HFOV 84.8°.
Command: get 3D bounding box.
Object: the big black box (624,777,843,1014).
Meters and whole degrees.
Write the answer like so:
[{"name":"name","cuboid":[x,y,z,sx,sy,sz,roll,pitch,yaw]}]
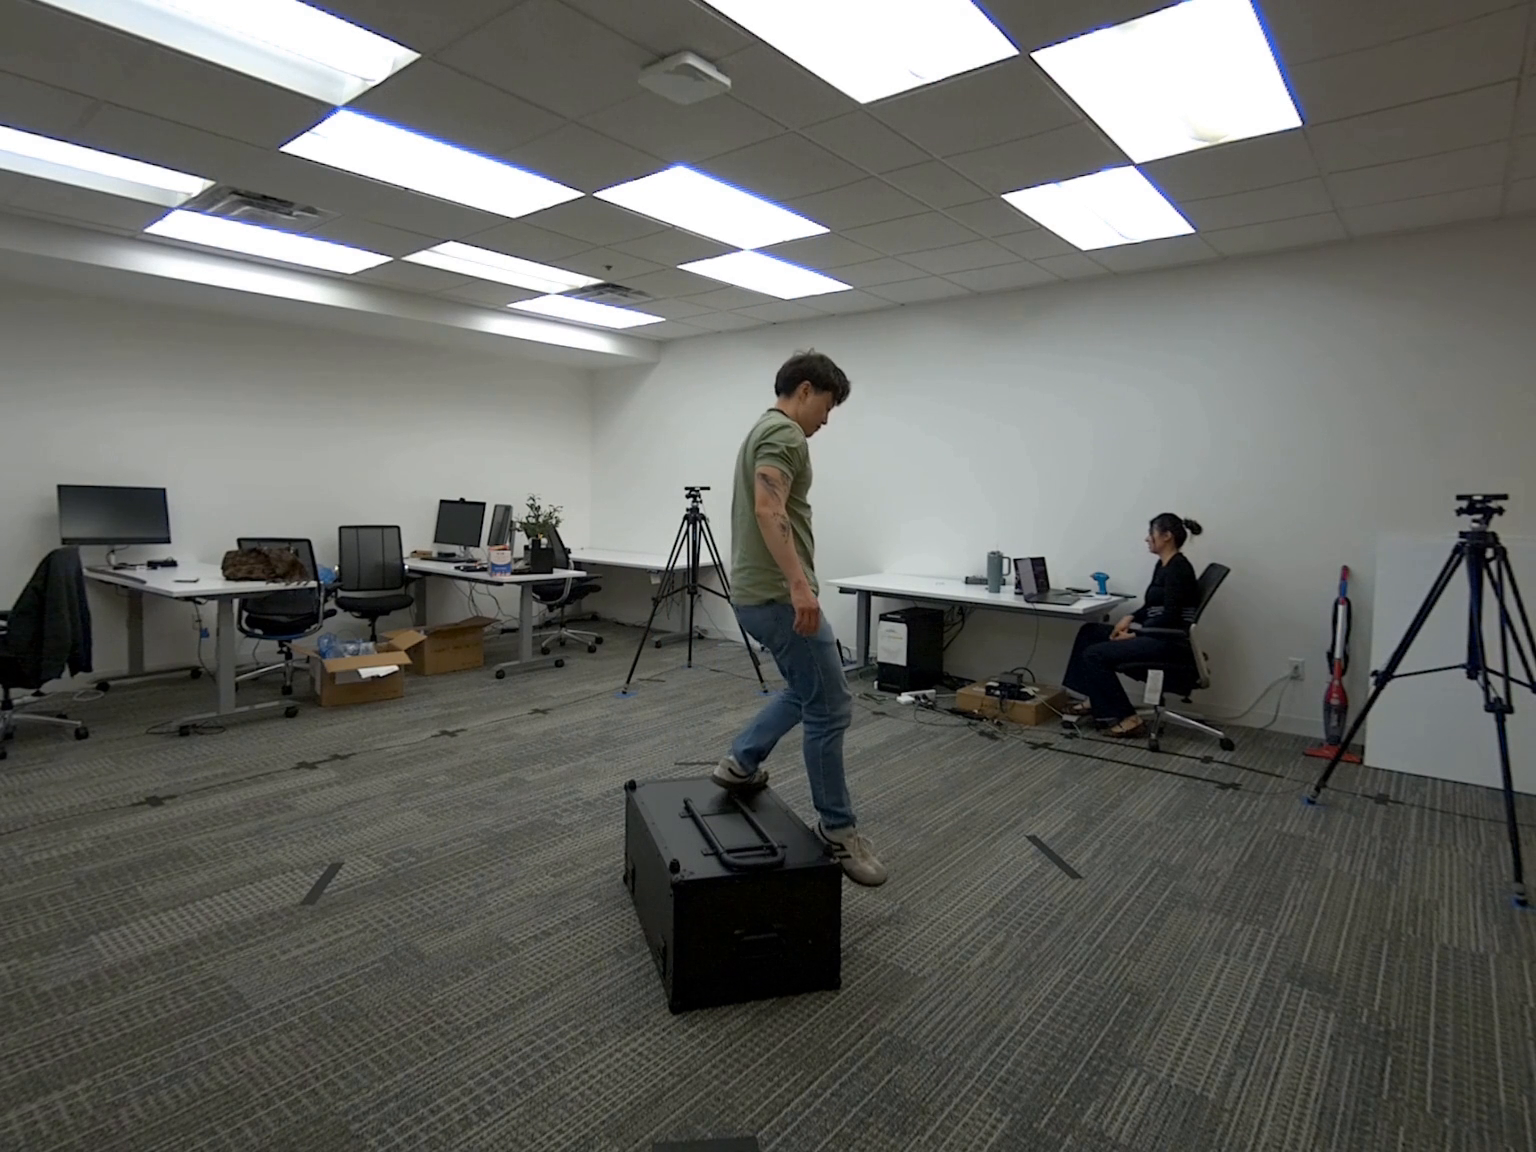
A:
[{"name":"big black box","cuboid":[-0.171,0.914,2.697,0.512,0.395,0.879,0,4,-19]}]
